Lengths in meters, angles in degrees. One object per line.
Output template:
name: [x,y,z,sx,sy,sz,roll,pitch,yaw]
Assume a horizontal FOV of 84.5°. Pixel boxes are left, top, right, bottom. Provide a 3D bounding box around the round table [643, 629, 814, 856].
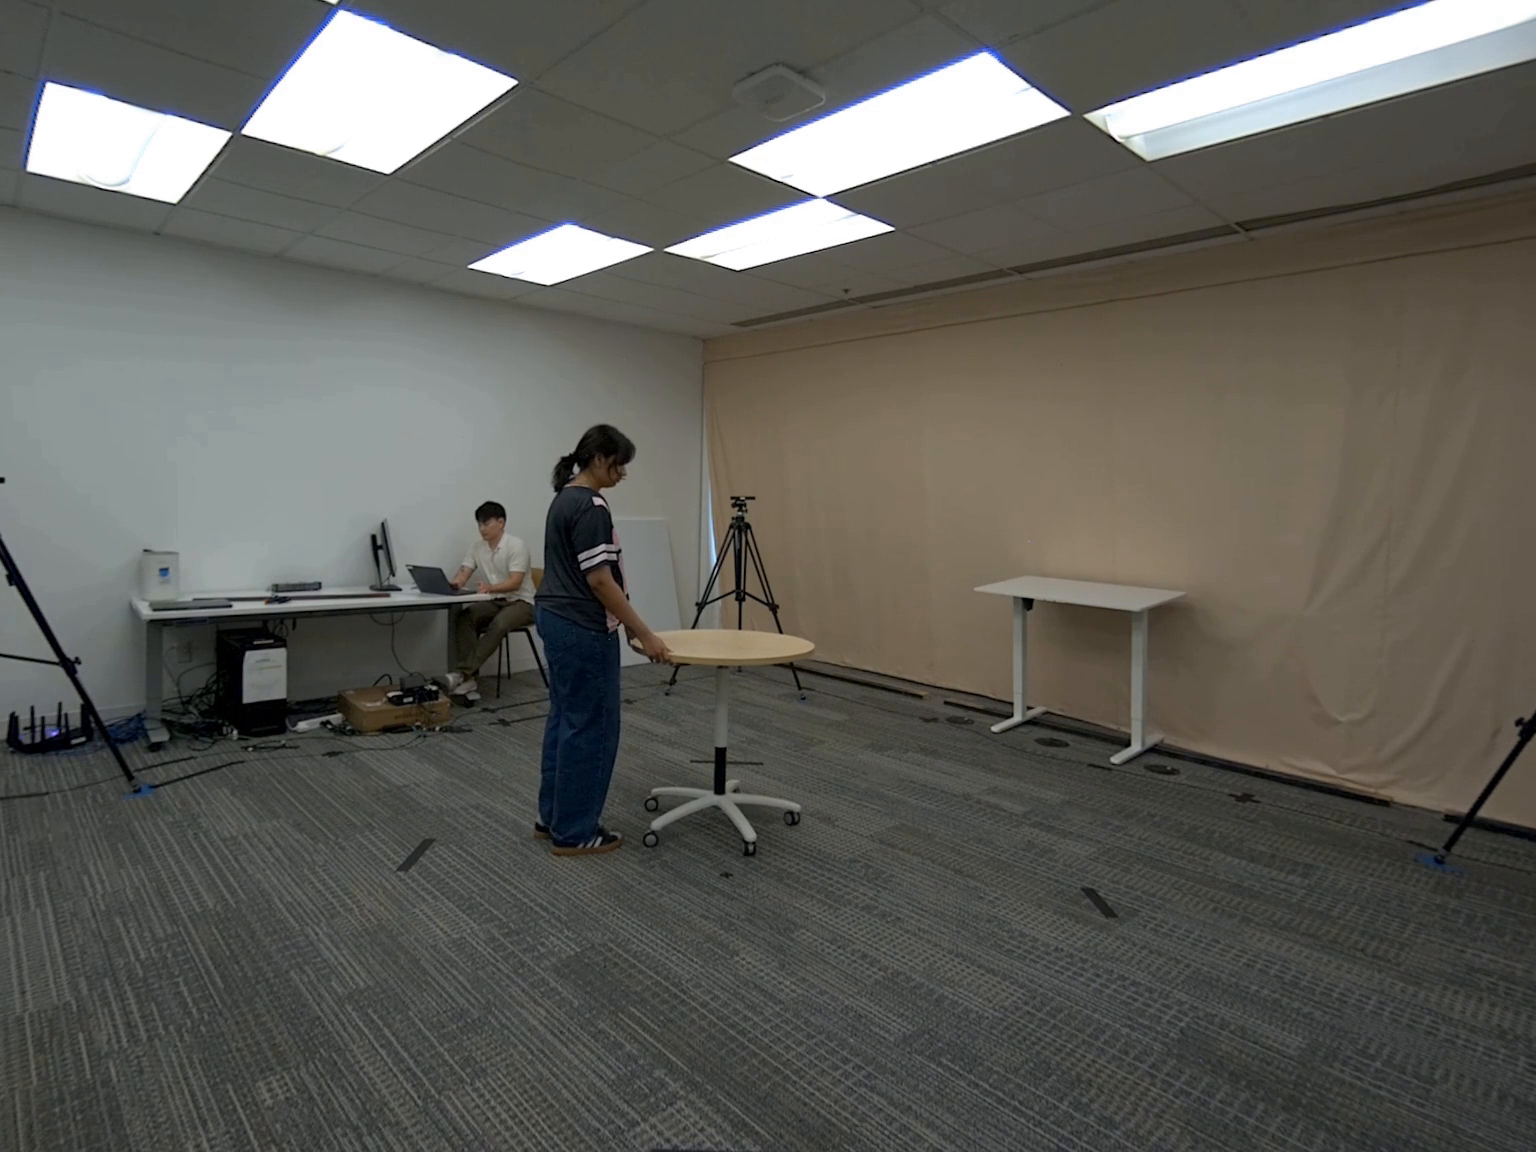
round table: [-0.205,0.675,3.556,0.763,0.792,0.766,2,3,-1]
